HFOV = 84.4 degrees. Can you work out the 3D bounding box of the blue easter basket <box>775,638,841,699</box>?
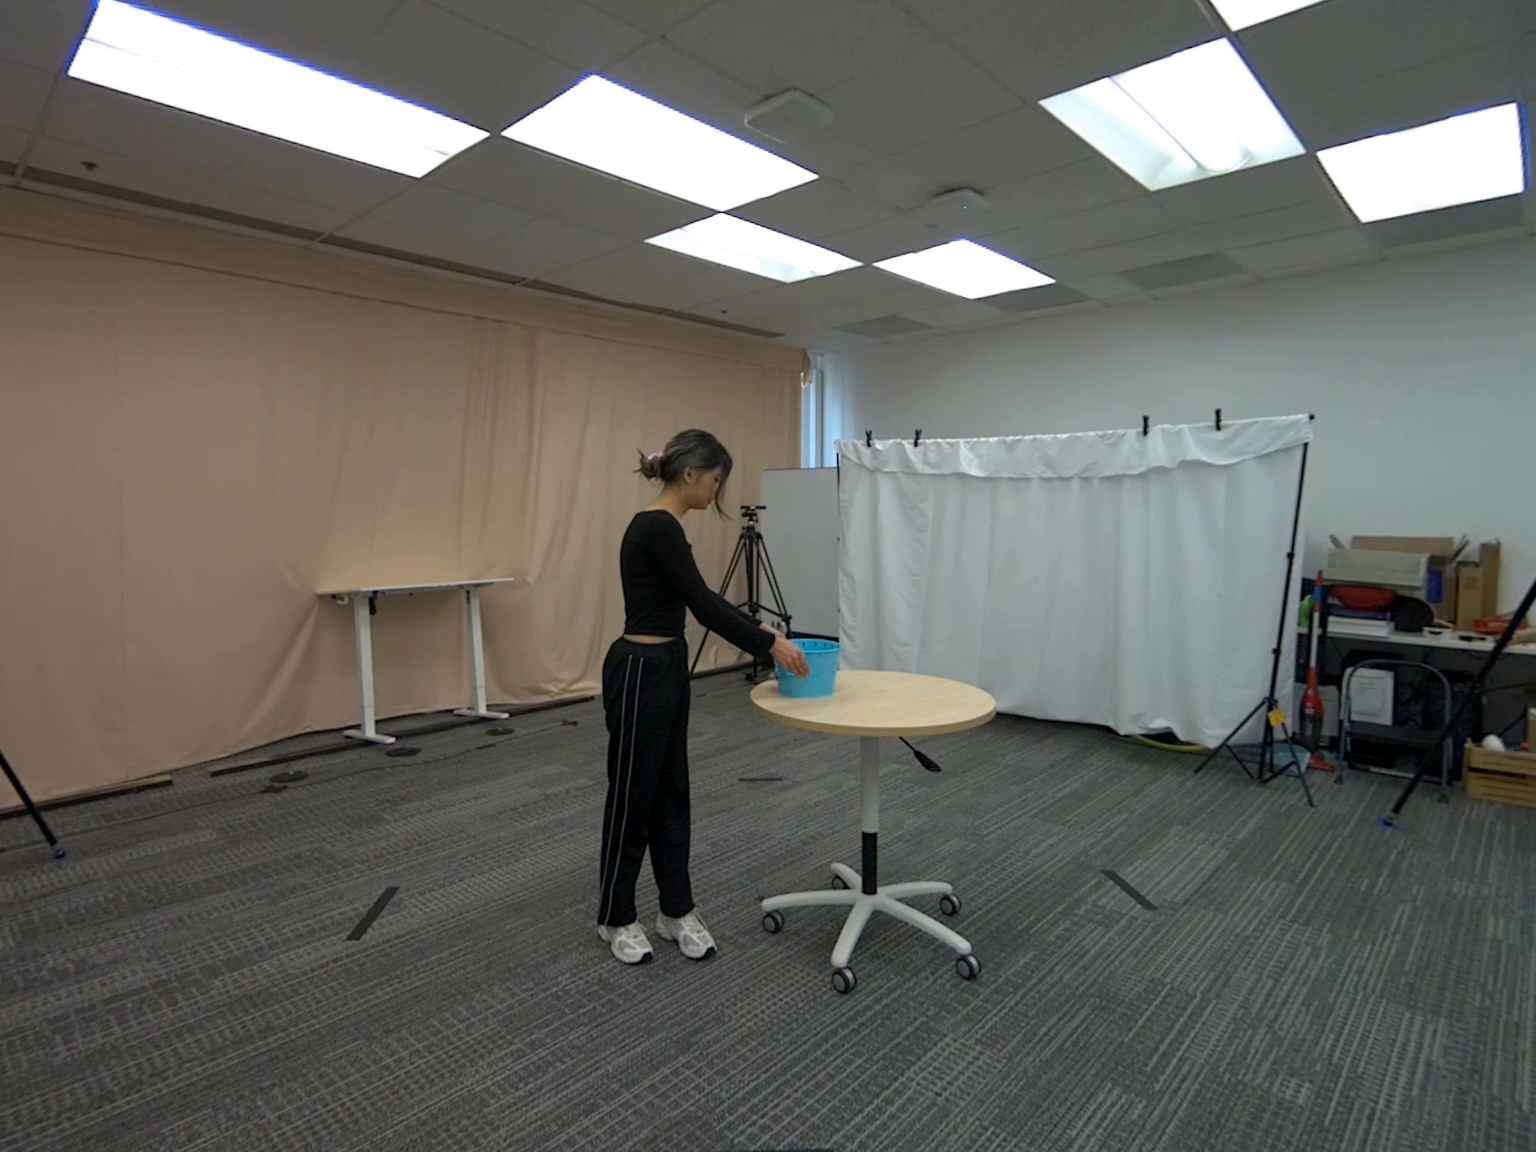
[{"bbox_3d":[0.131,0.305,2.739,0.243,0.155,0.245,1,6,-2],"label":"blue easter basket"}]
